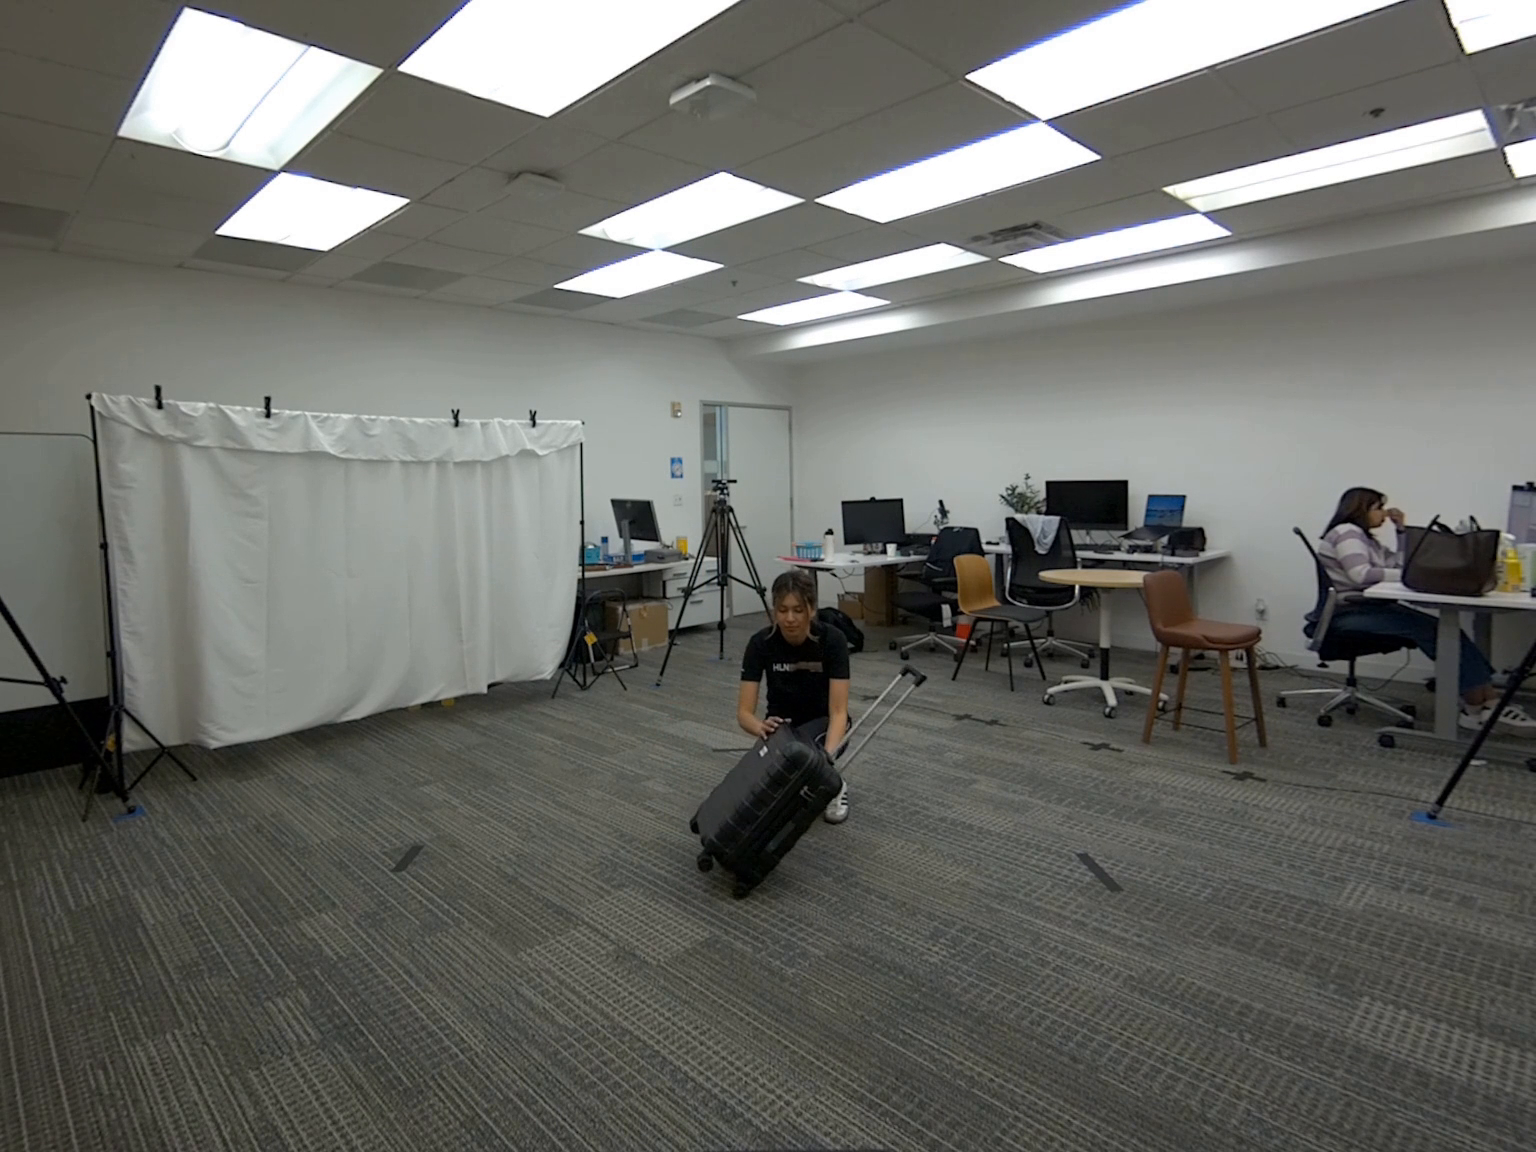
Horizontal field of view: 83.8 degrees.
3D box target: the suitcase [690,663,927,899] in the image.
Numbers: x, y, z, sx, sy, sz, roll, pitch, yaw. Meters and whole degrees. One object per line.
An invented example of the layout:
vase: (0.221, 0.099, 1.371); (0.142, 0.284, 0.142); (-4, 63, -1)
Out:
suitcase: (0.118, 0.643, 2.997); (0.254, 0.978, 0.388); (40, -1, -9)
